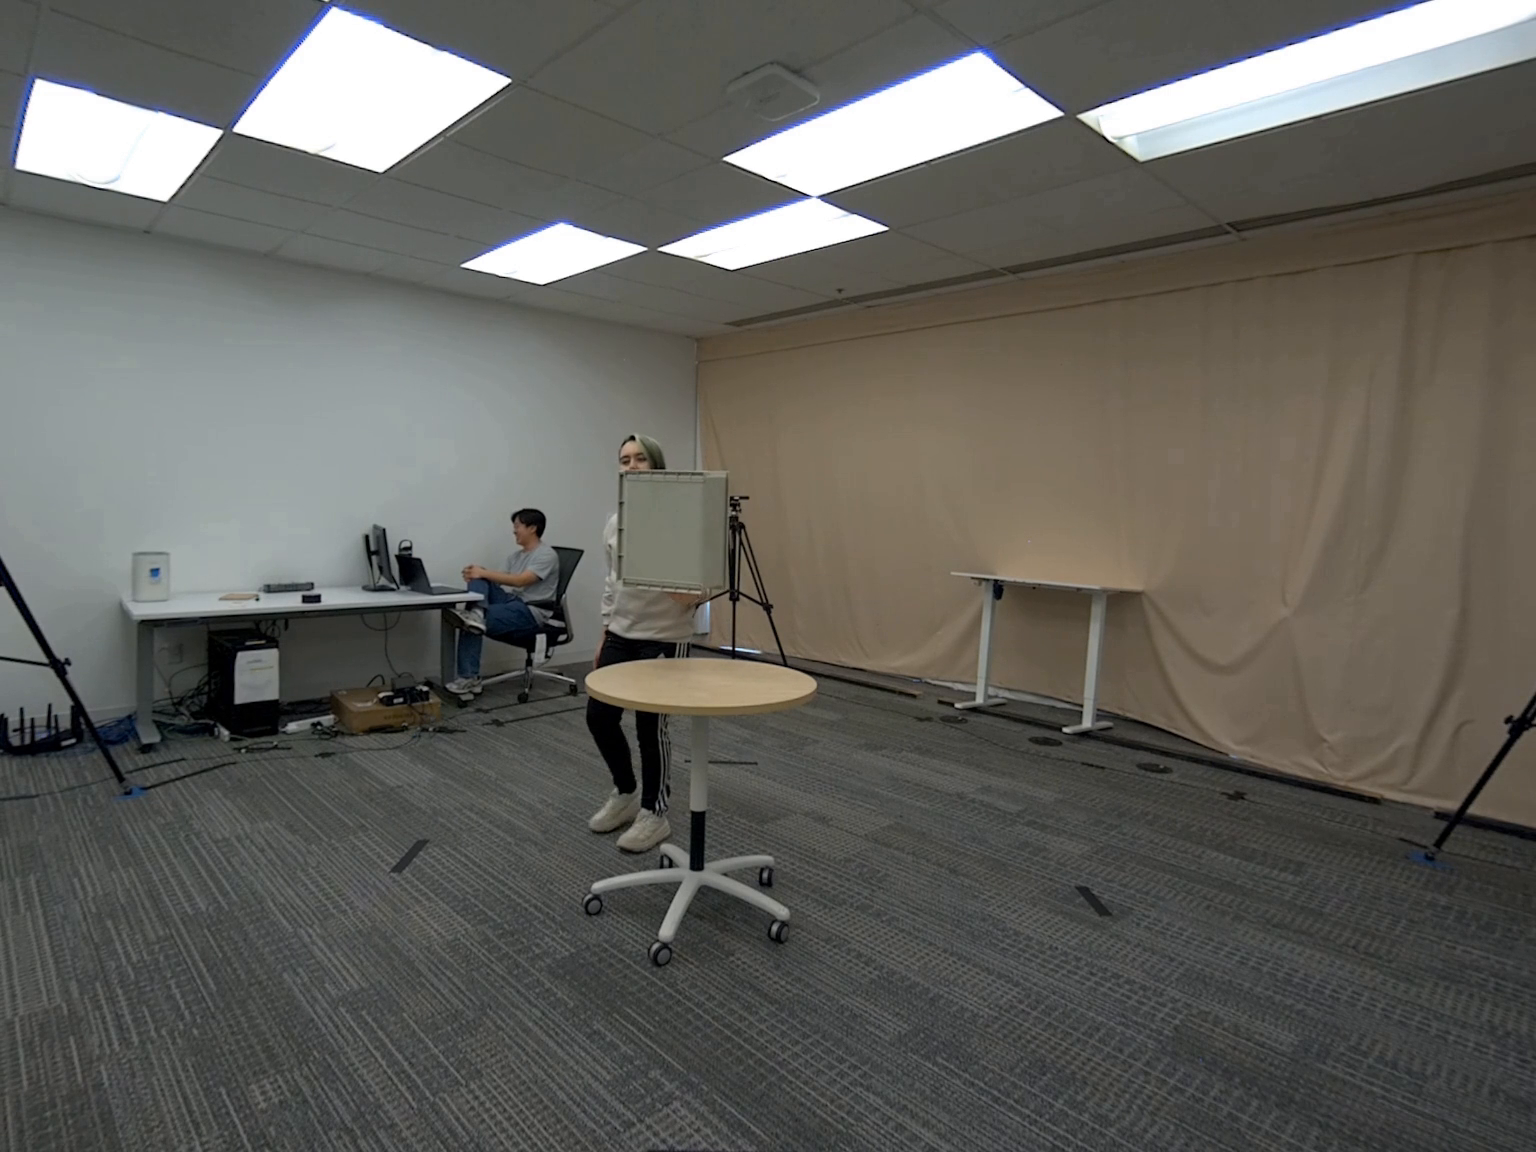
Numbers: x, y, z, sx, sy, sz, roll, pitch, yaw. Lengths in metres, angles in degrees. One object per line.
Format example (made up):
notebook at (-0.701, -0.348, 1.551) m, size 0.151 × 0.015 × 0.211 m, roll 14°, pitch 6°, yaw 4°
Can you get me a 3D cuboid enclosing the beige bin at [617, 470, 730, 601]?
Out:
beige bin at (-0.354, -0.165, 2.982) m, size 0.385 × 0.421 × 0.186 m, roll 4°, pitch 5°, yaw 25°
